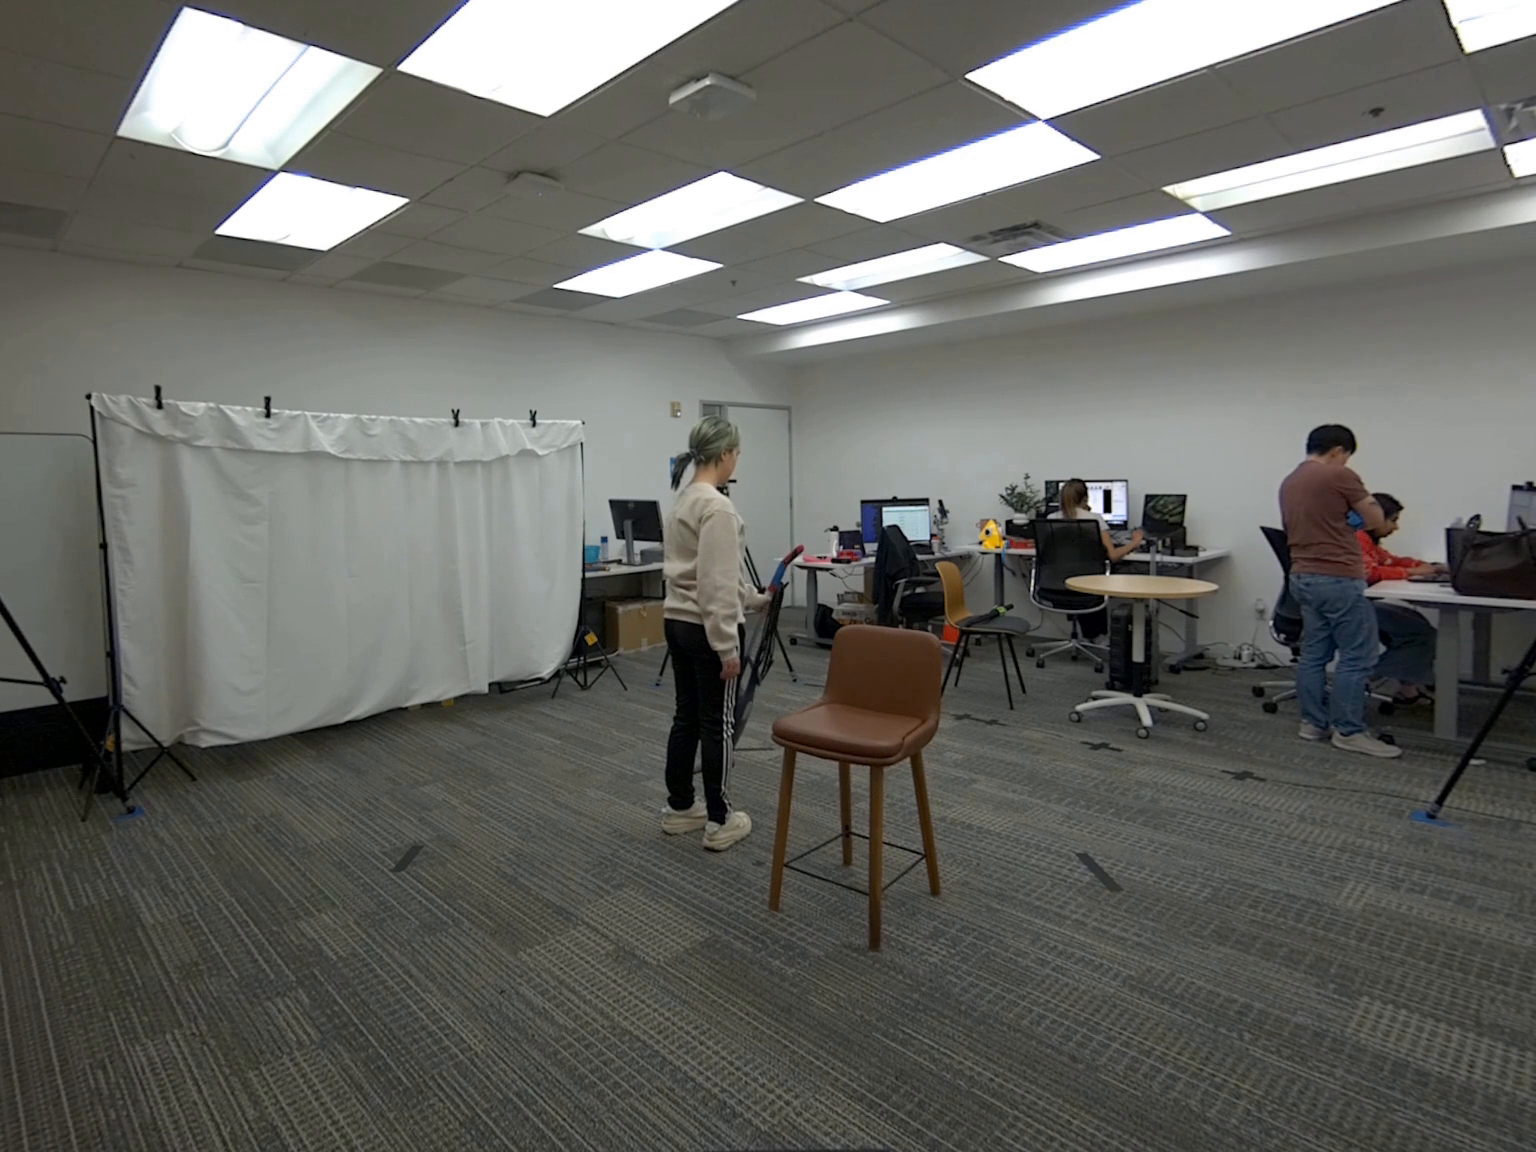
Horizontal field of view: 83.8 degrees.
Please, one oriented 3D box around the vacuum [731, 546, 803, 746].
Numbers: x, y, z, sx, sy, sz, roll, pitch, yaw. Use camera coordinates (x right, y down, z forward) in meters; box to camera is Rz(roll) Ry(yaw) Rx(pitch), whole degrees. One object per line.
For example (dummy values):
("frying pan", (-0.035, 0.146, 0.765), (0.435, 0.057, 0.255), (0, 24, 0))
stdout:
("vacuum", (-0.051, 0.361, 3.614), (0.149, 1.043, 0.244), (29, 14, 38))
